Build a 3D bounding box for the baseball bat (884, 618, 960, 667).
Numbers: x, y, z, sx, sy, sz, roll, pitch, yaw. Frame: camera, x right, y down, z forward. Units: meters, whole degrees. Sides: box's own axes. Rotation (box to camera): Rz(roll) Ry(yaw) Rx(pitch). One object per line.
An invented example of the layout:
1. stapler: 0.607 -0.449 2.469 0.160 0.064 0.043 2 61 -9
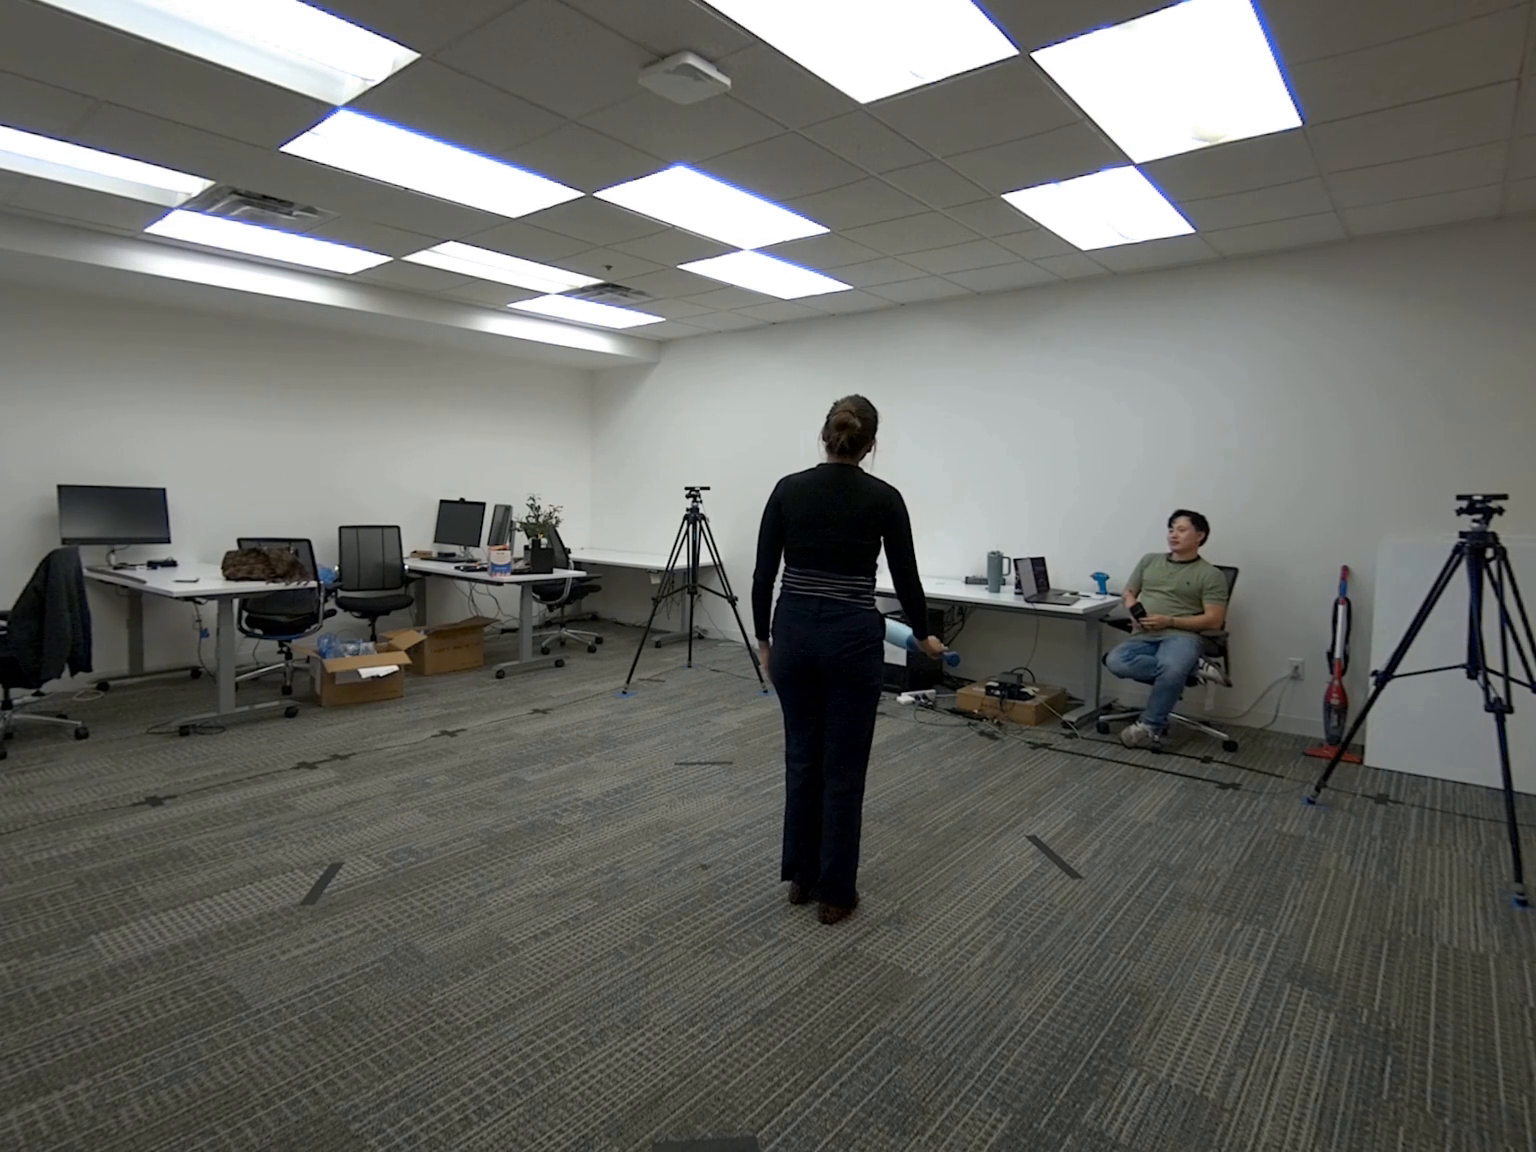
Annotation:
1. baseball bat: 0.516 0.242 3.116 0.088 0.088 0.553 0 8 -13
